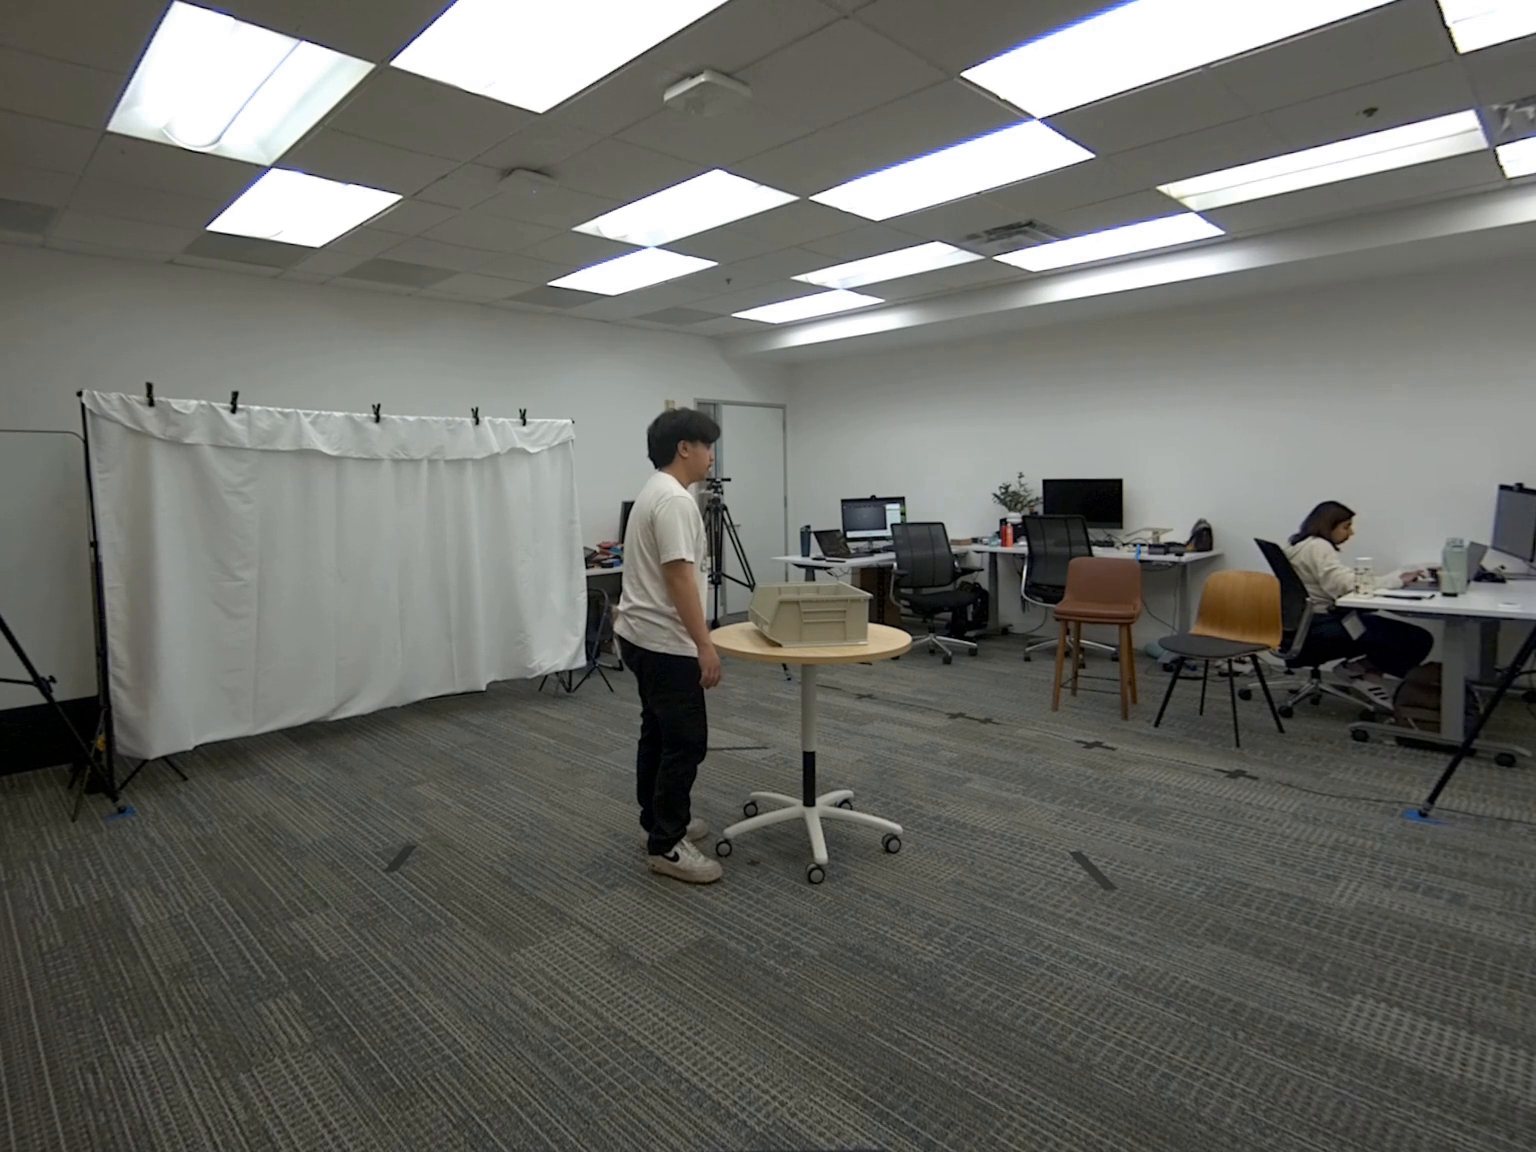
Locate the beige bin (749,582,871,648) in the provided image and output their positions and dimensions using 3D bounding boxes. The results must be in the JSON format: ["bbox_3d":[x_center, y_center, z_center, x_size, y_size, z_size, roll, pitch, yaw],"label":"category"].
[{"bbox_3d":[0.143,0.138,3.216,0.374,0.188,0.428,0,6,-10],"label":"beige bin"}]
